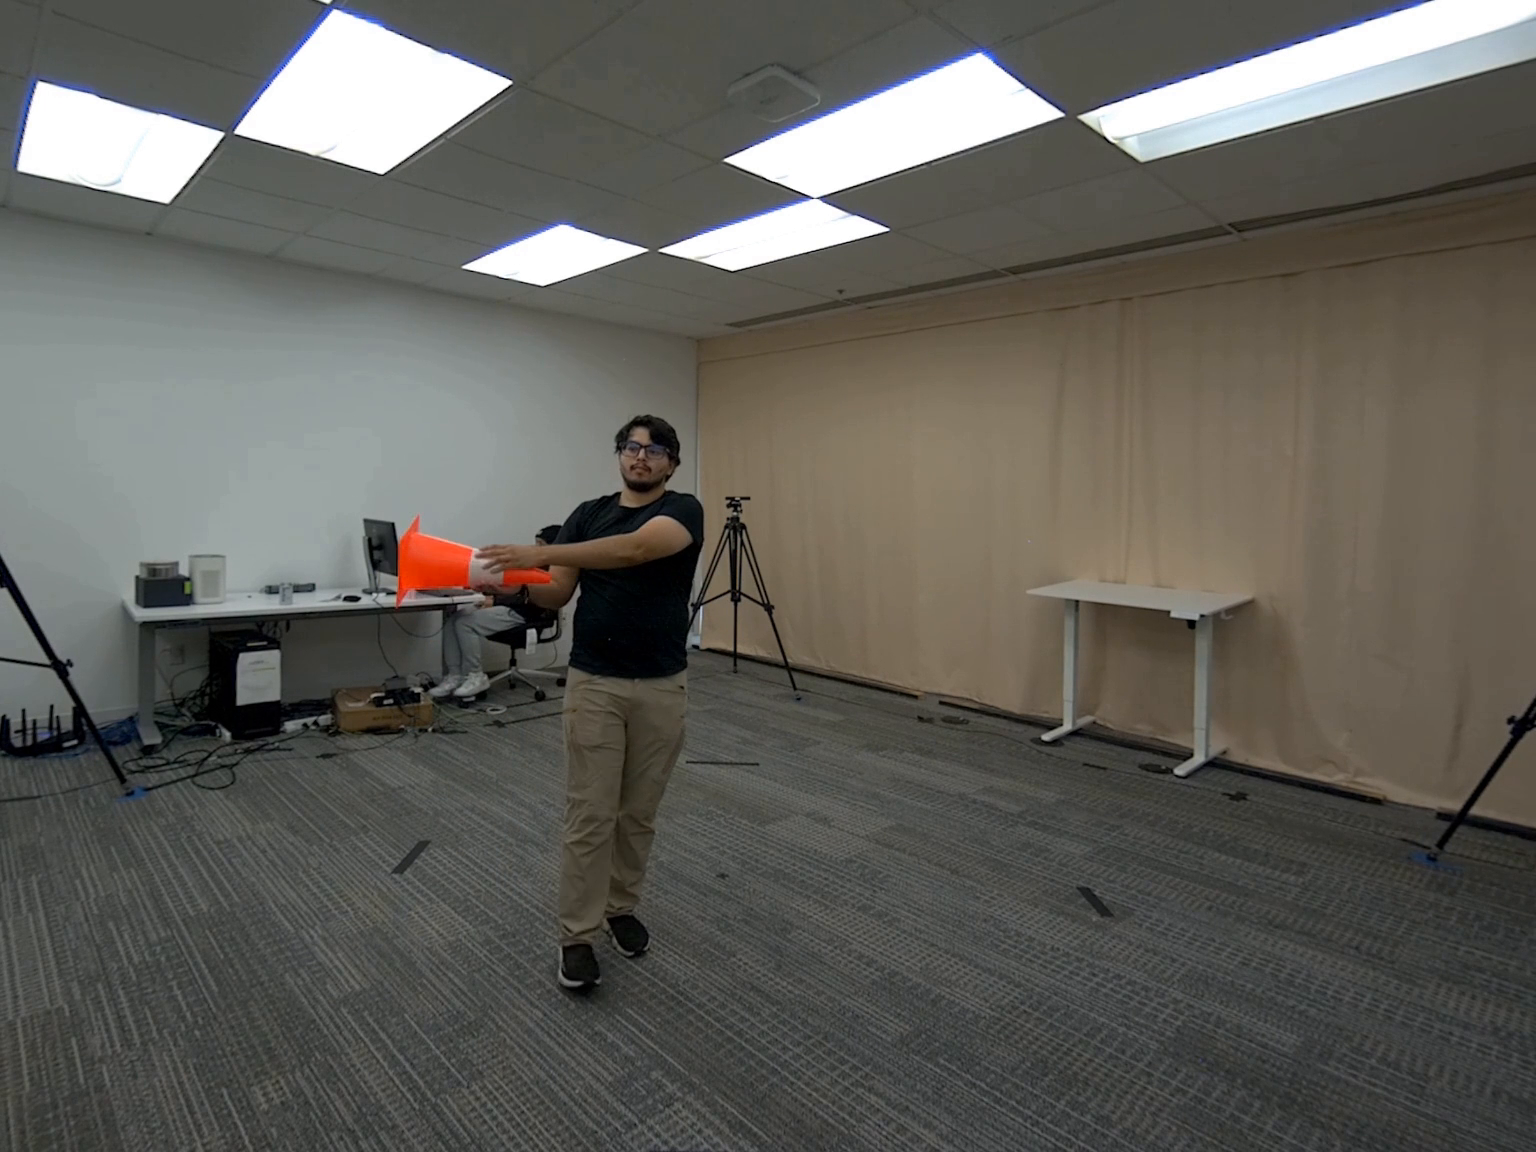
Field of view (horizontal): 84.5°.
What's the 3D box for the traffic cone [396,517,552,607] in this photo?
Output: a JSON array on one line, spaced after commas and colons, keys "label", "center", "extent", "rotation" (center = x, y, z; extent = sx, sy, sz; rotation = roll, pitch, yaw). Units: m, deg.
[{"label": "traffic cone", "center": [-0.786, 0.003, 2.257], "extent": [0.381, 0.201, 0.208], "rotation": [10, 22, -7]}]
